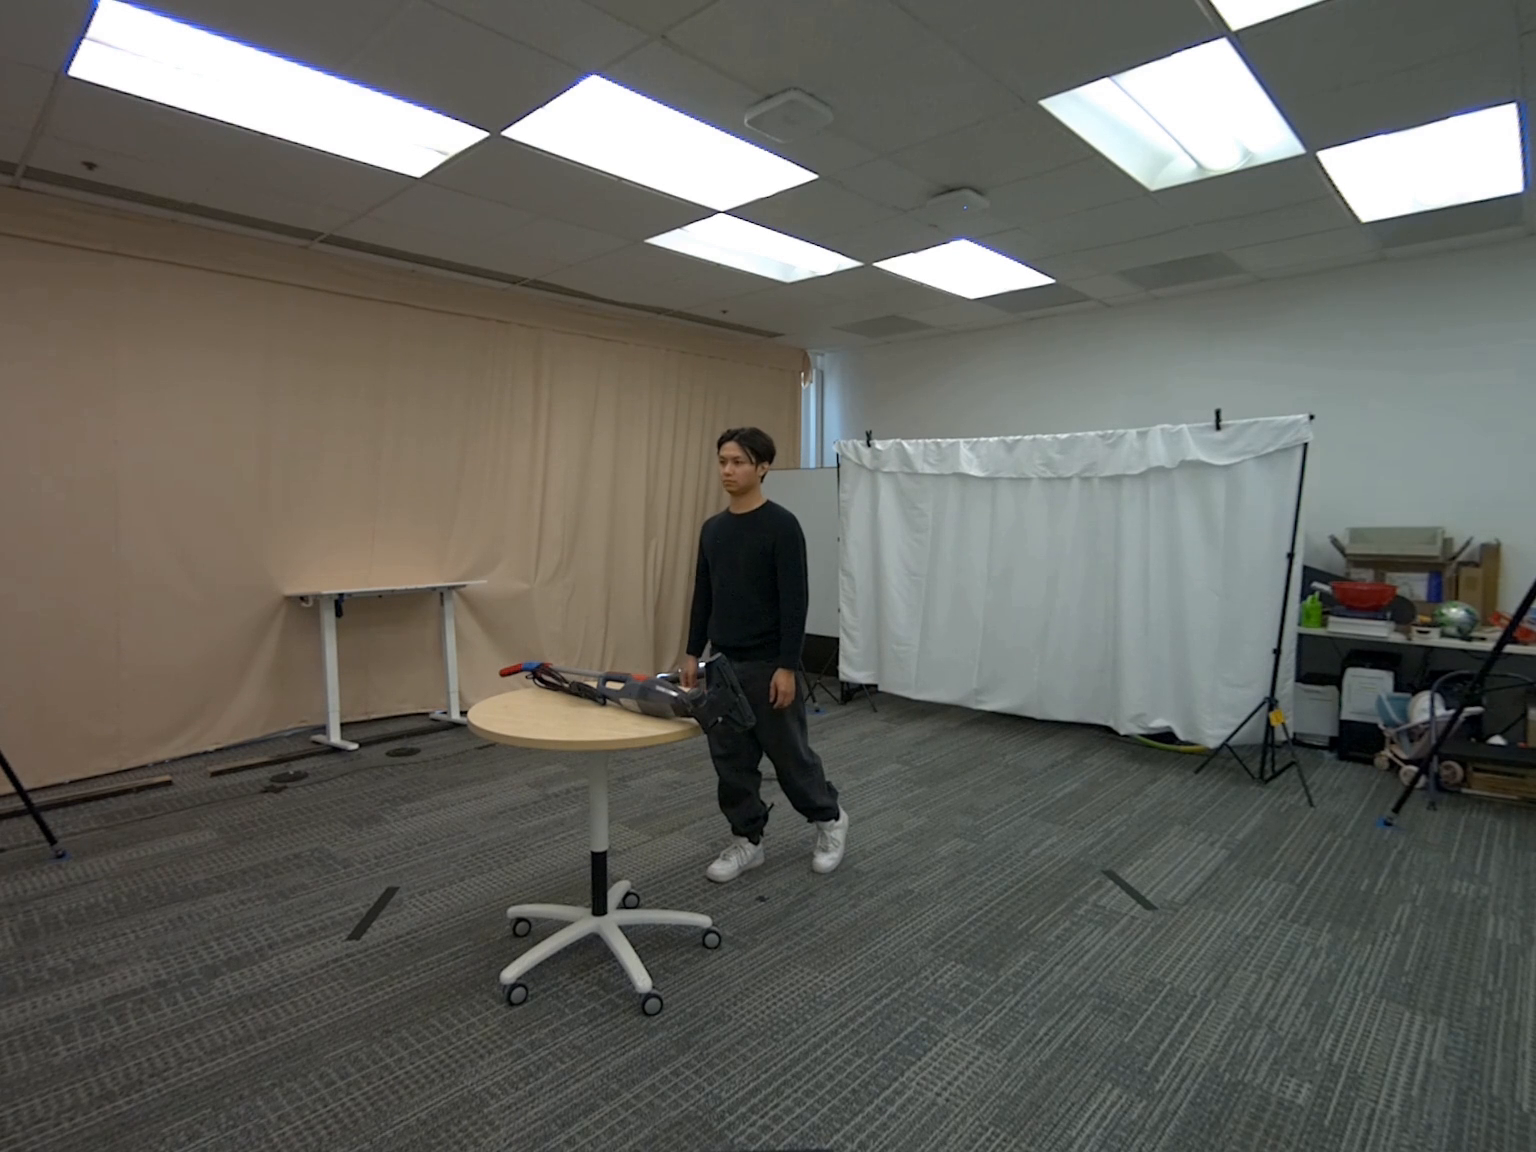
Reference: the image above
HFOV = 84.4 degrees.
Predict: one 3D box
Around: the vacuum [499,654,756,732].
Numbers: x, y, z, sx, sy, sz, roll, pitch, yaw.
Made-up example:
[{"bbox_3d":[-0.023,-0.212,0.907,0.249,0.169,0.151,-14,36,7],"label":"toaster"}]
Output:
[{"bbox_3d":[-0.537,0.353,2.661,1.083,0.247,0.143,0,35,41],"label":"vacuum"}]
